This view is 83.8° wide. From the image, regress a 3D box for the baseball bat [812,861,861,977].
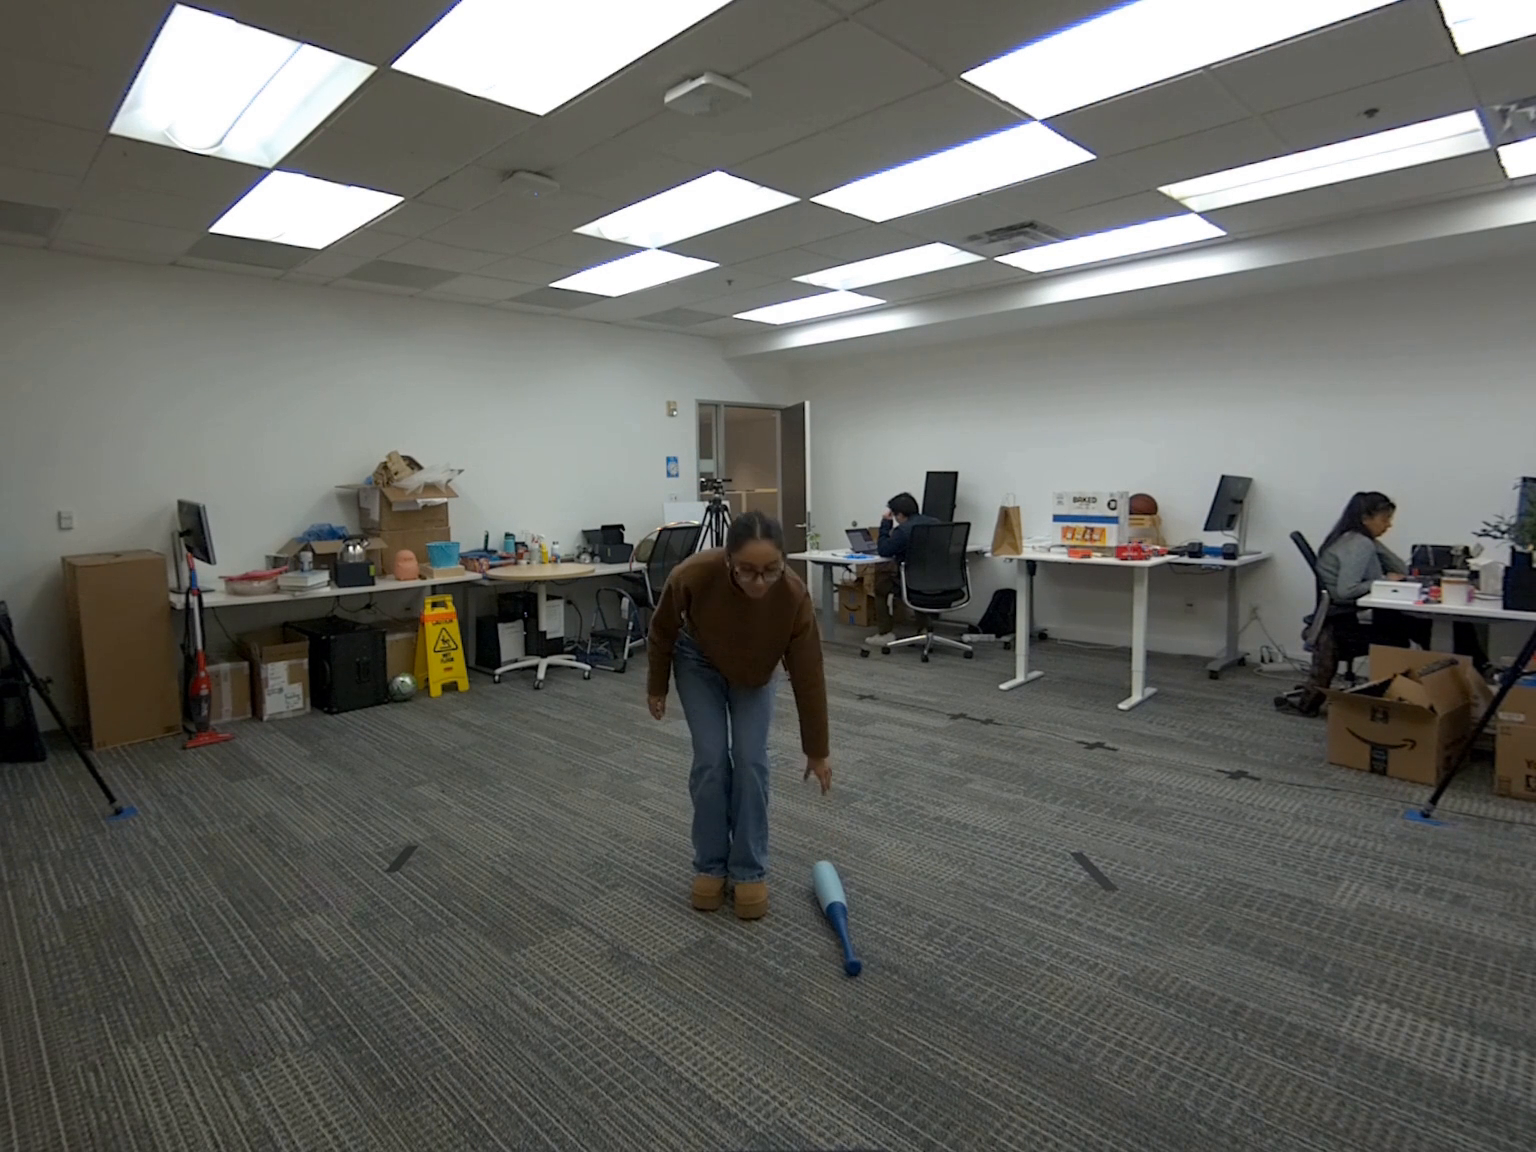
[{"bbox_3d":[0.217,1.055,2.651,0.089,0.088,0.549,-1,9,-5],"label":"baseball bat"}]
